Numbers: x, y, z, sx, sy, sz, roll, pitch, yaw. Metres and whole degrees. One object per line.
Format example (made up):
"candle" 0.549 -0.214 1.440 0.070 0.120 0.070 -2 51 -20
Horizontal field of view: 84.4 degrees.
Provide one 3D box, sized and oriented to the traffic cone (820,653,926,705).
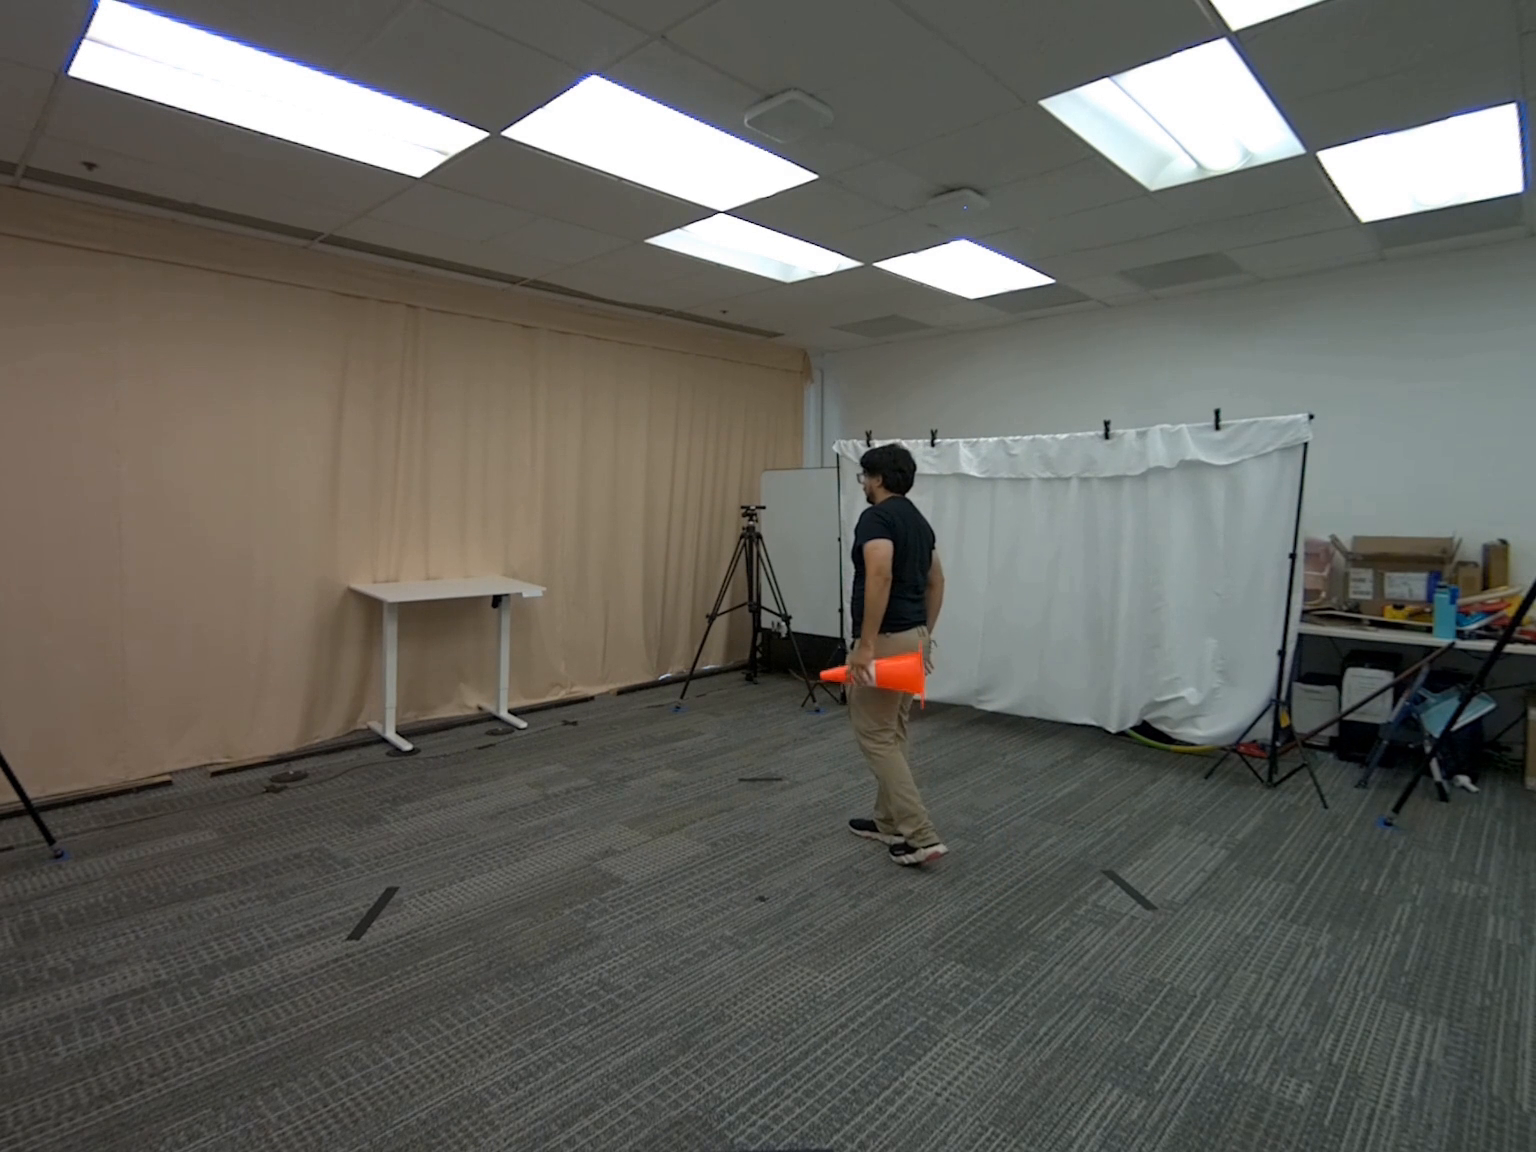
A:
"traffic cone" 0.381 0.380 3.184 0.389 0.199 0.207 -9 30 14
